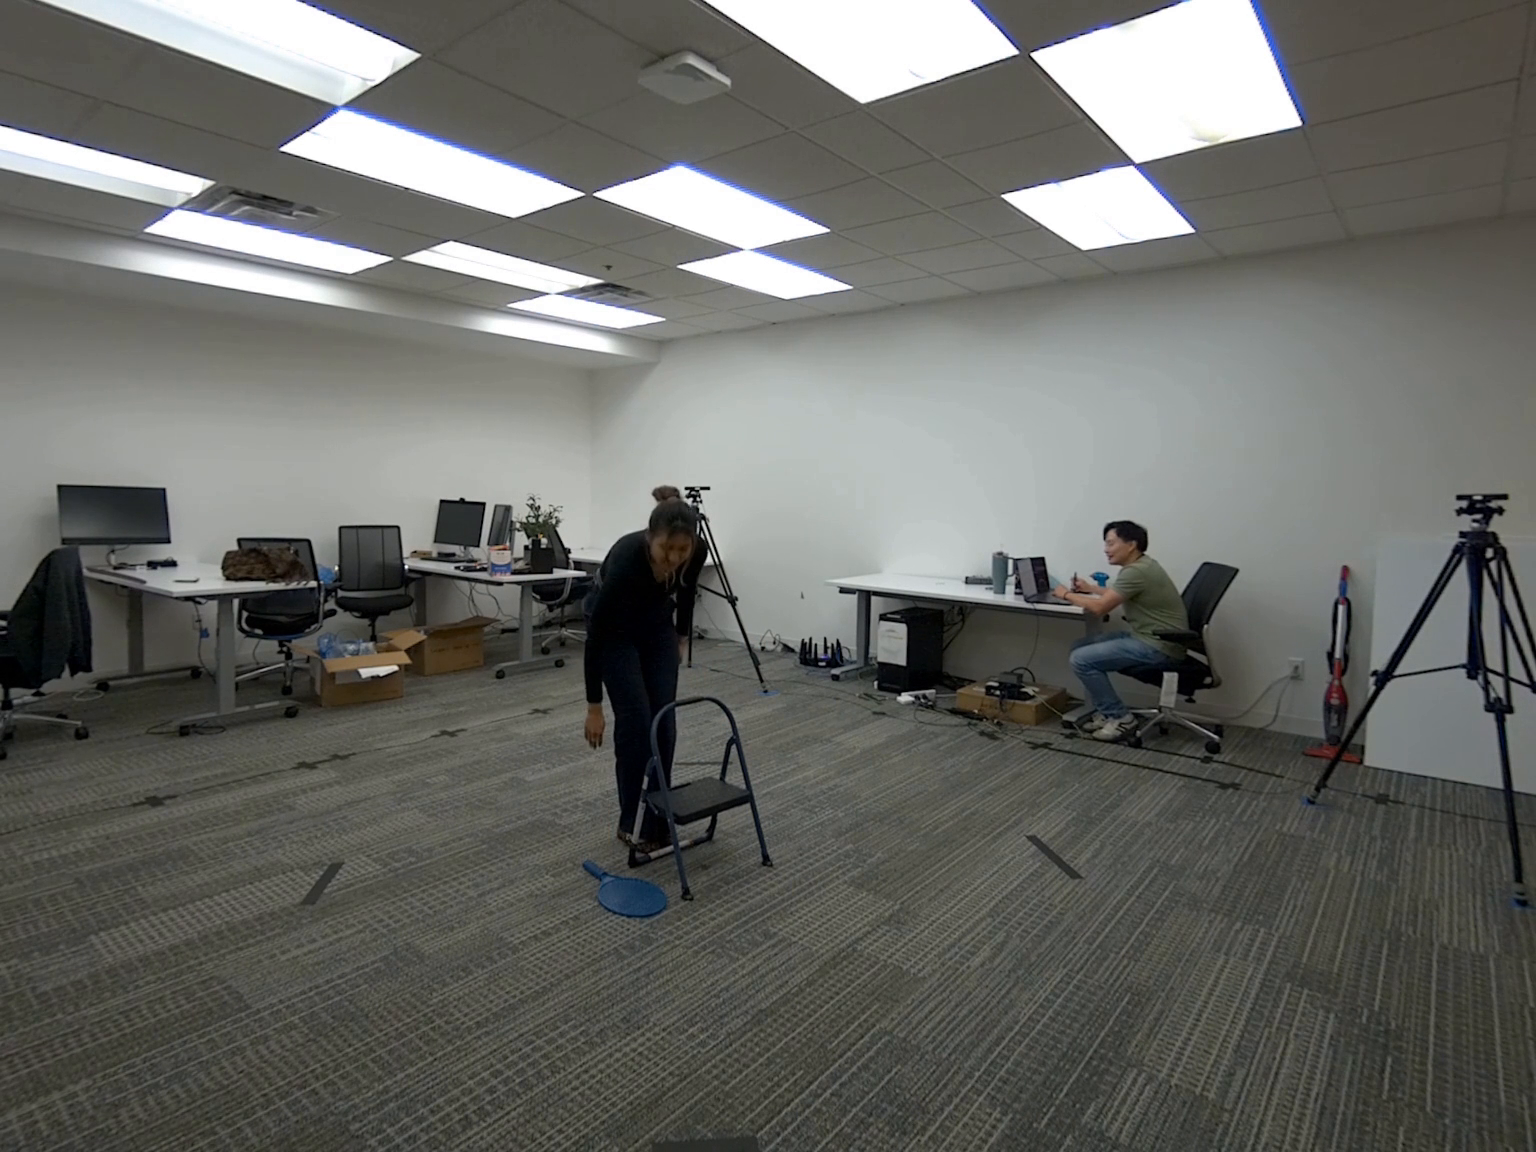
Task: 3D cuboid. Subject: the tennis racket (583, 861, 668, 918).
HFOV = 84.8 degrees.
[{"bbox_3d":[-0.518,1.063,2.921,0.207,0.031,0.448,-5,9,-43],"label":"tennis racket"}]
